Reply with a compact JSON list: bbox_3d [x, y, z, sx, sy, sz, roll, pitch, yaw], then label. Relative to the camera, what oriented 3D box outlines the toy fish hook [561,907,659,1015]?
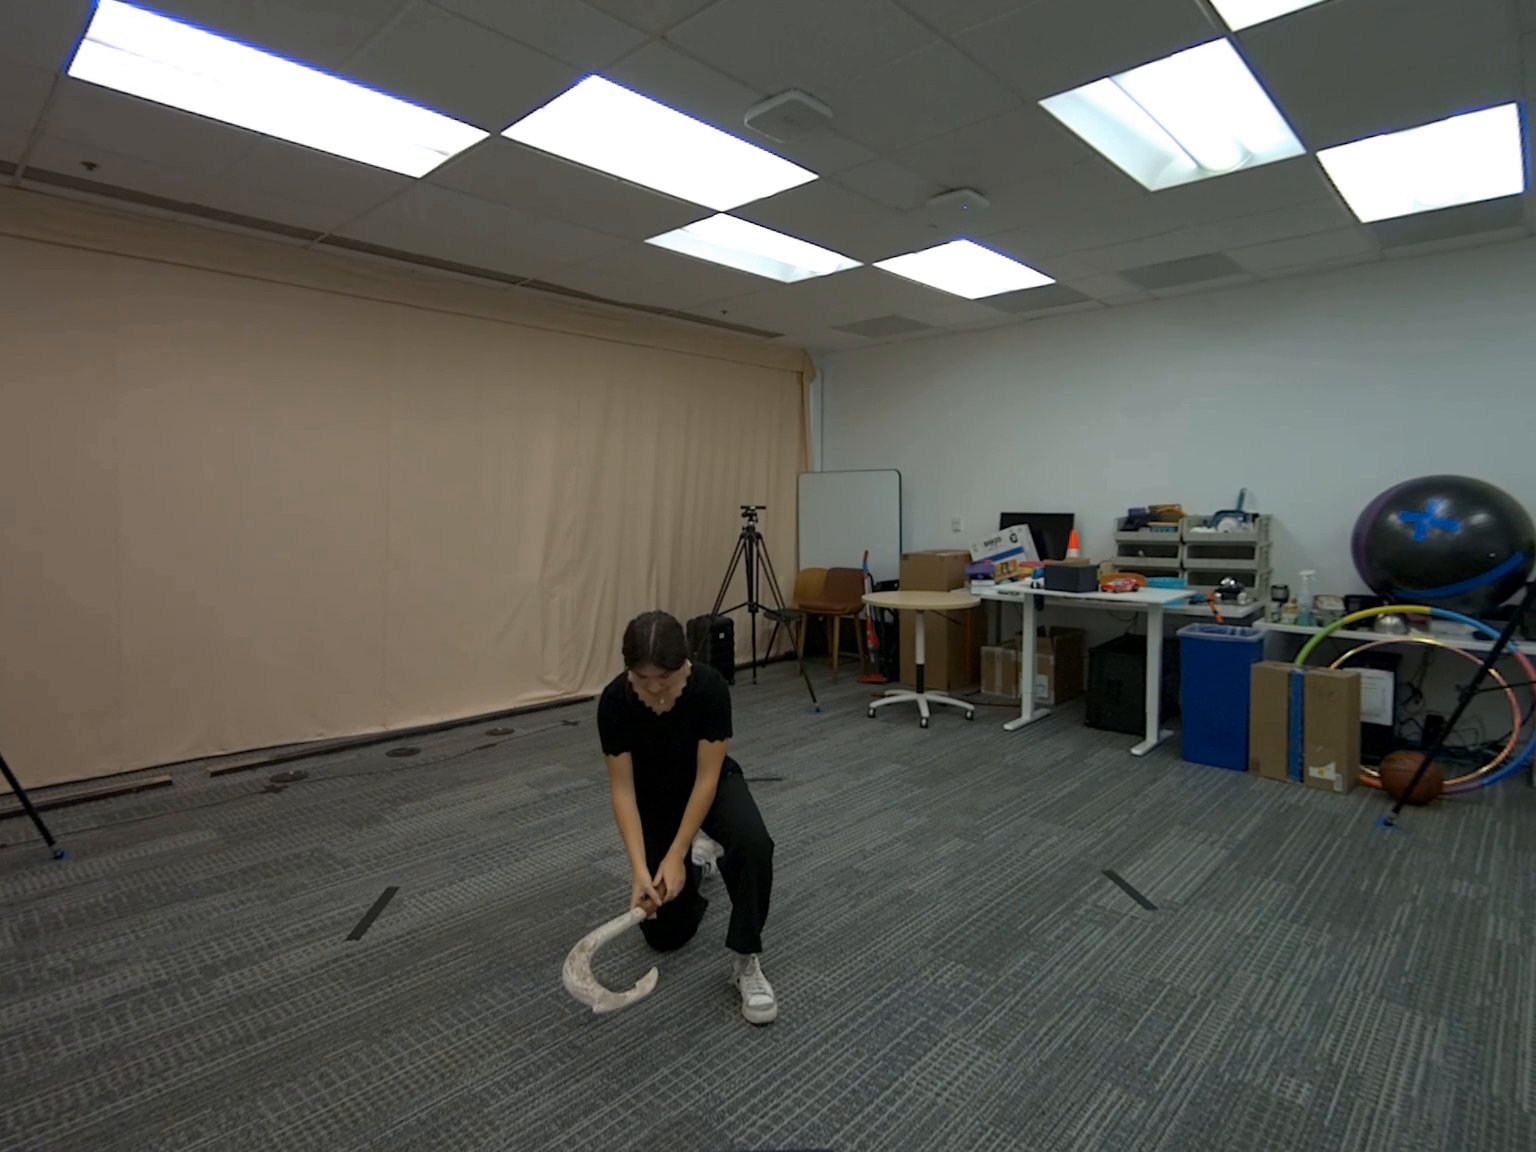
[{"bbox_3d":[-0.317,0.961,2.241,0.230,0.048,0.498,27,29,18],"label":"toy fish hook"}]
